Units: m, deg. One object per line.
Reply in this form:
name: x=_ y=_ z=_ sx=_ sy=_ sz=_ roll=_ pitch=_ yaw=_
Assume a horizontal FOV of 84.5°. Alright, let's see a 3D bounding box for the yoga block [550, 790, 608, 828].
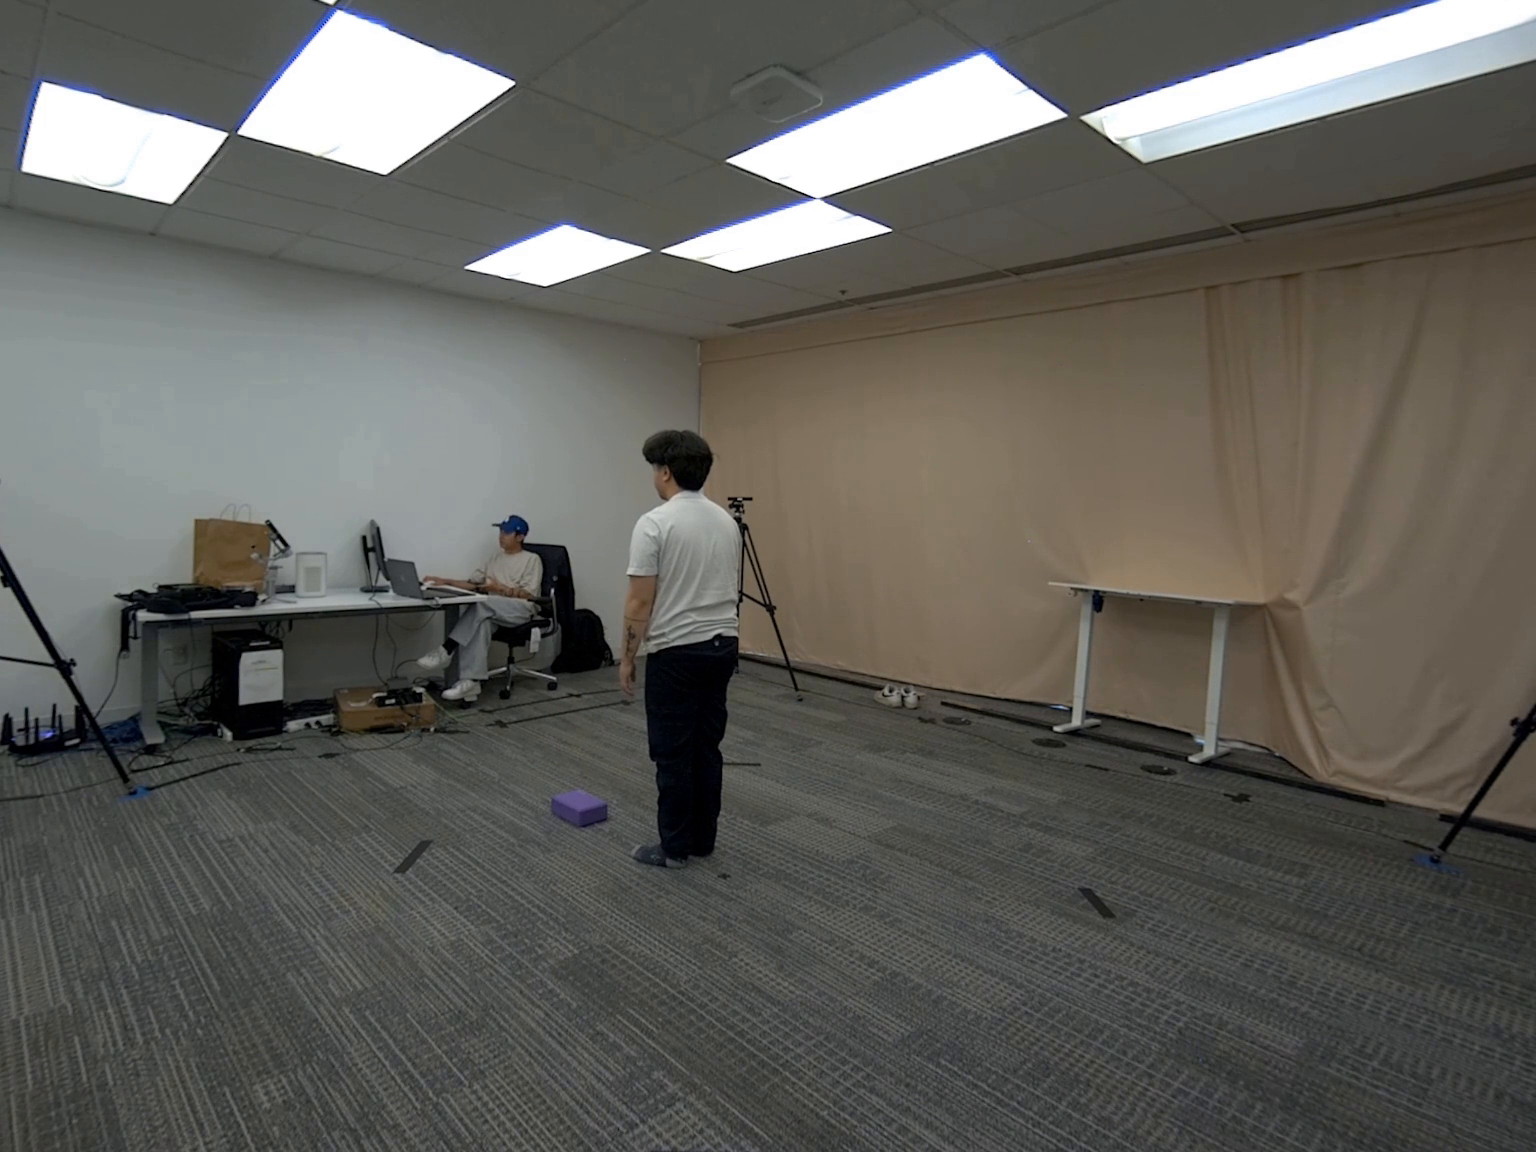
yoga block: x=-0.827 y=1.004 z=3.652 sx=0.235 sy=0.076 sz=0.146 roll=6 pitch=7 yaw=45
